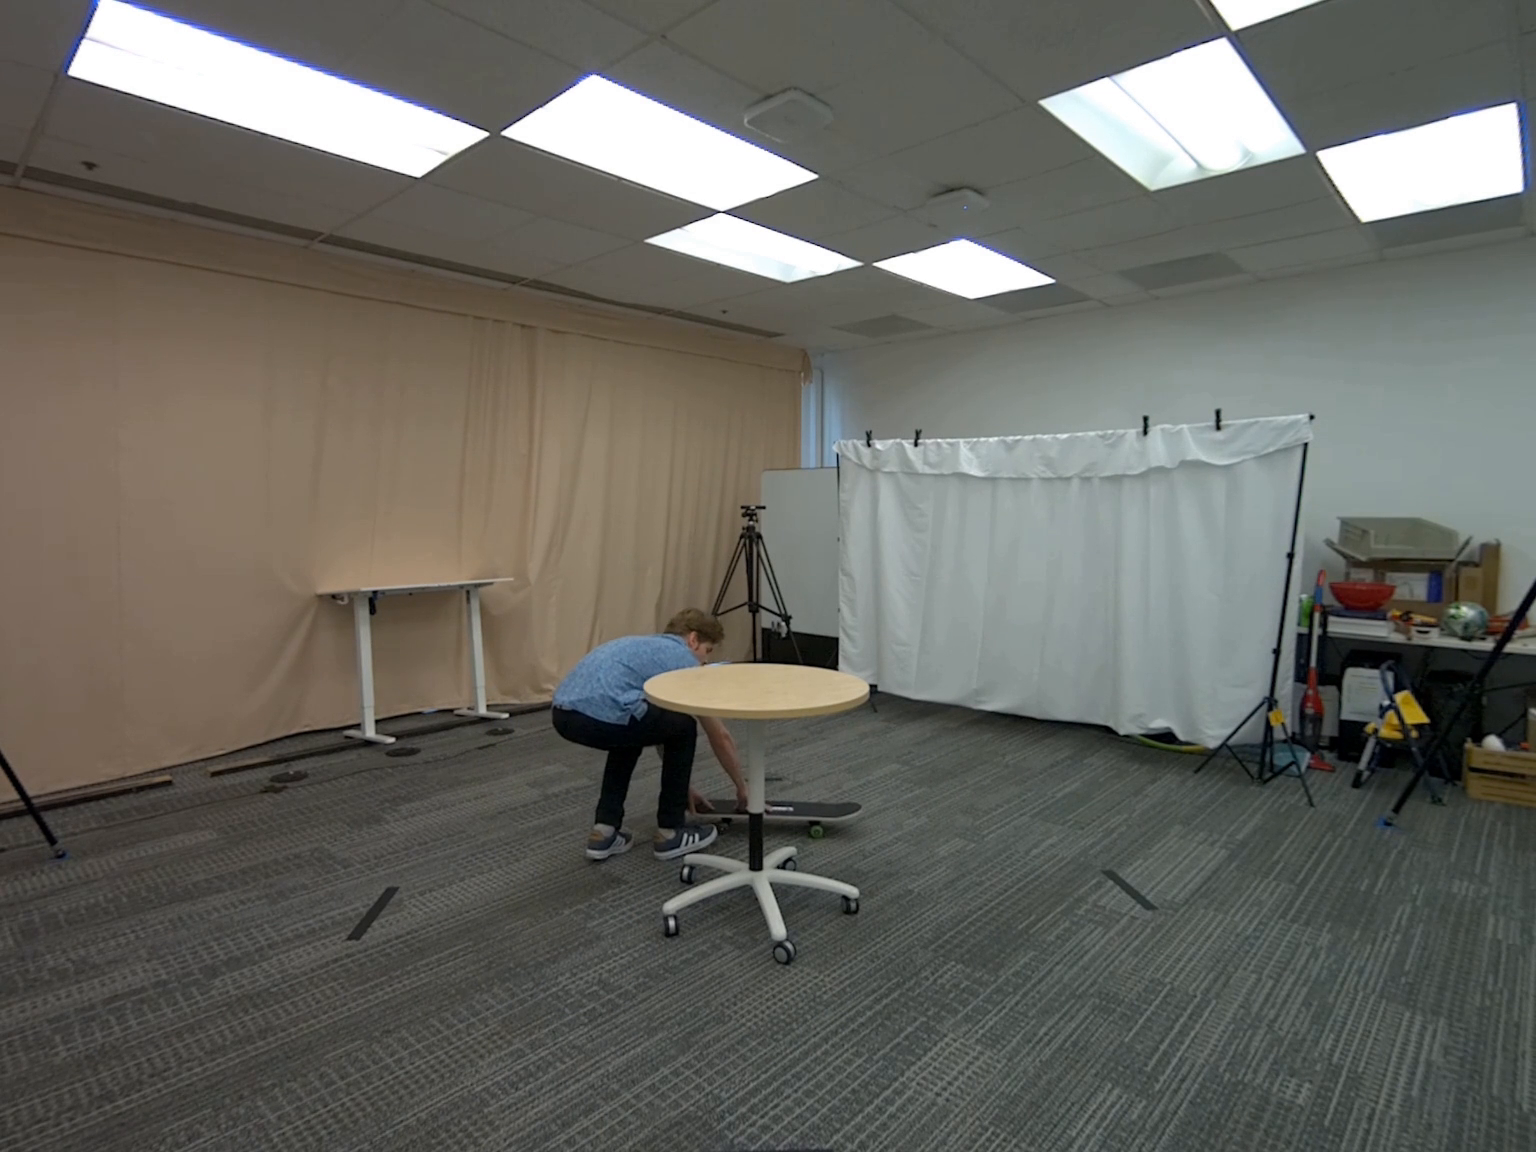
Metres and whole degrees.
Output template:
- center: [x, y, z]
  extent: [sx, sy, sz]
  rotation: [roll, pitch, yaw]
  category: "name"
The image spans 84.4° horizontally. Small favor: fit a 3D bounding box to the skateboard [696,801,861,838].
- center: [0.014, 1.036, 3.626]
  extent: [0.790, 0.110, 0.193]
  rotation: [0, 4, 6]
  category: "skateboard"
